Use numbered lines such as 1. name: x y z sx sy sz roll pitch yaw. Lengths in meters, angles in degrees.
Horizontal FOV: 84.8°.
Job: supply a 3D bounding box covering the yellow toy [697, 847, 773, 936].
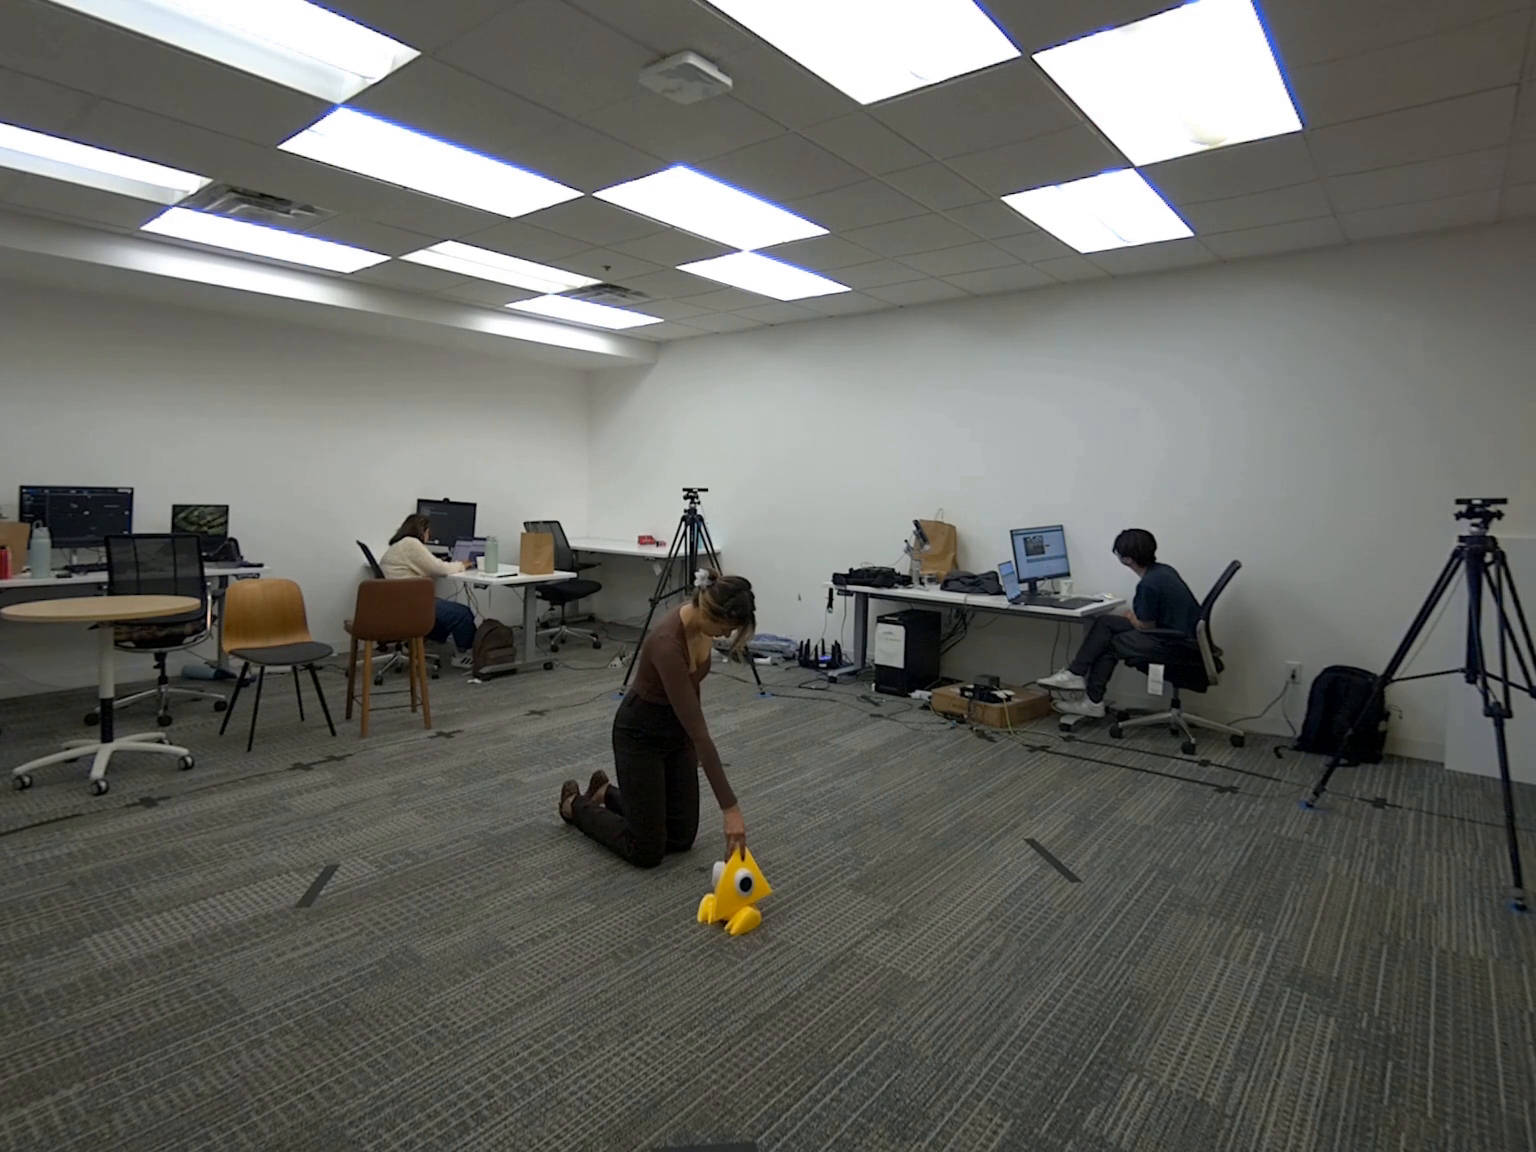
1. yellow toy: -0.124 0.992 2.756 0.211 0.230 0.188 3 5 33
